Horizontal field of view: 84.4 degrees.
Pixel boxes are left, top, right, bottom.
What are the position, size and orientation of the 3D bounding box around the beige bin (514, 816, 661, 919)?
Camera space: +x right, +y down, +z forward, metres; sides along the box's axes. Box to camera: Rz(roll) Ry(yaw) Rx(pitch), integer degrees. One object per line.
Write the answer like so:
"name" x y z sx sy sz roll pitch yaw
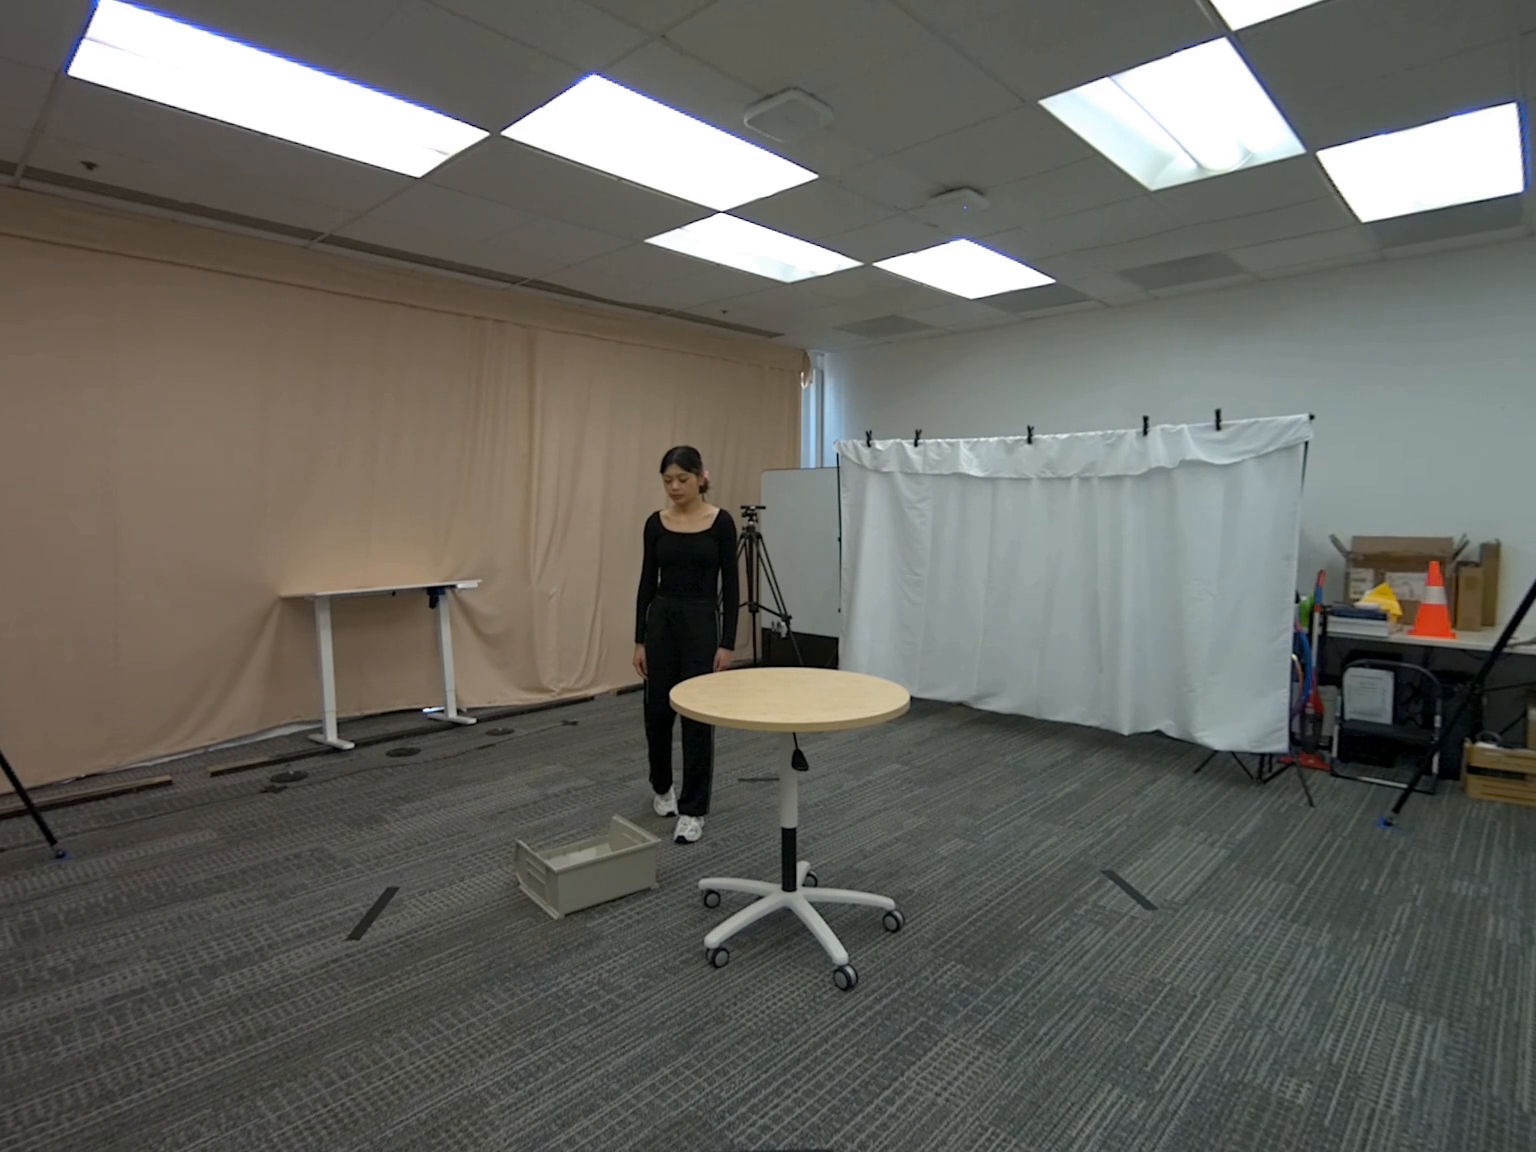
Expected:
"beige bin" -0.673 1.052 3.095 0.410 0.188 0.390 -3 6 -37
